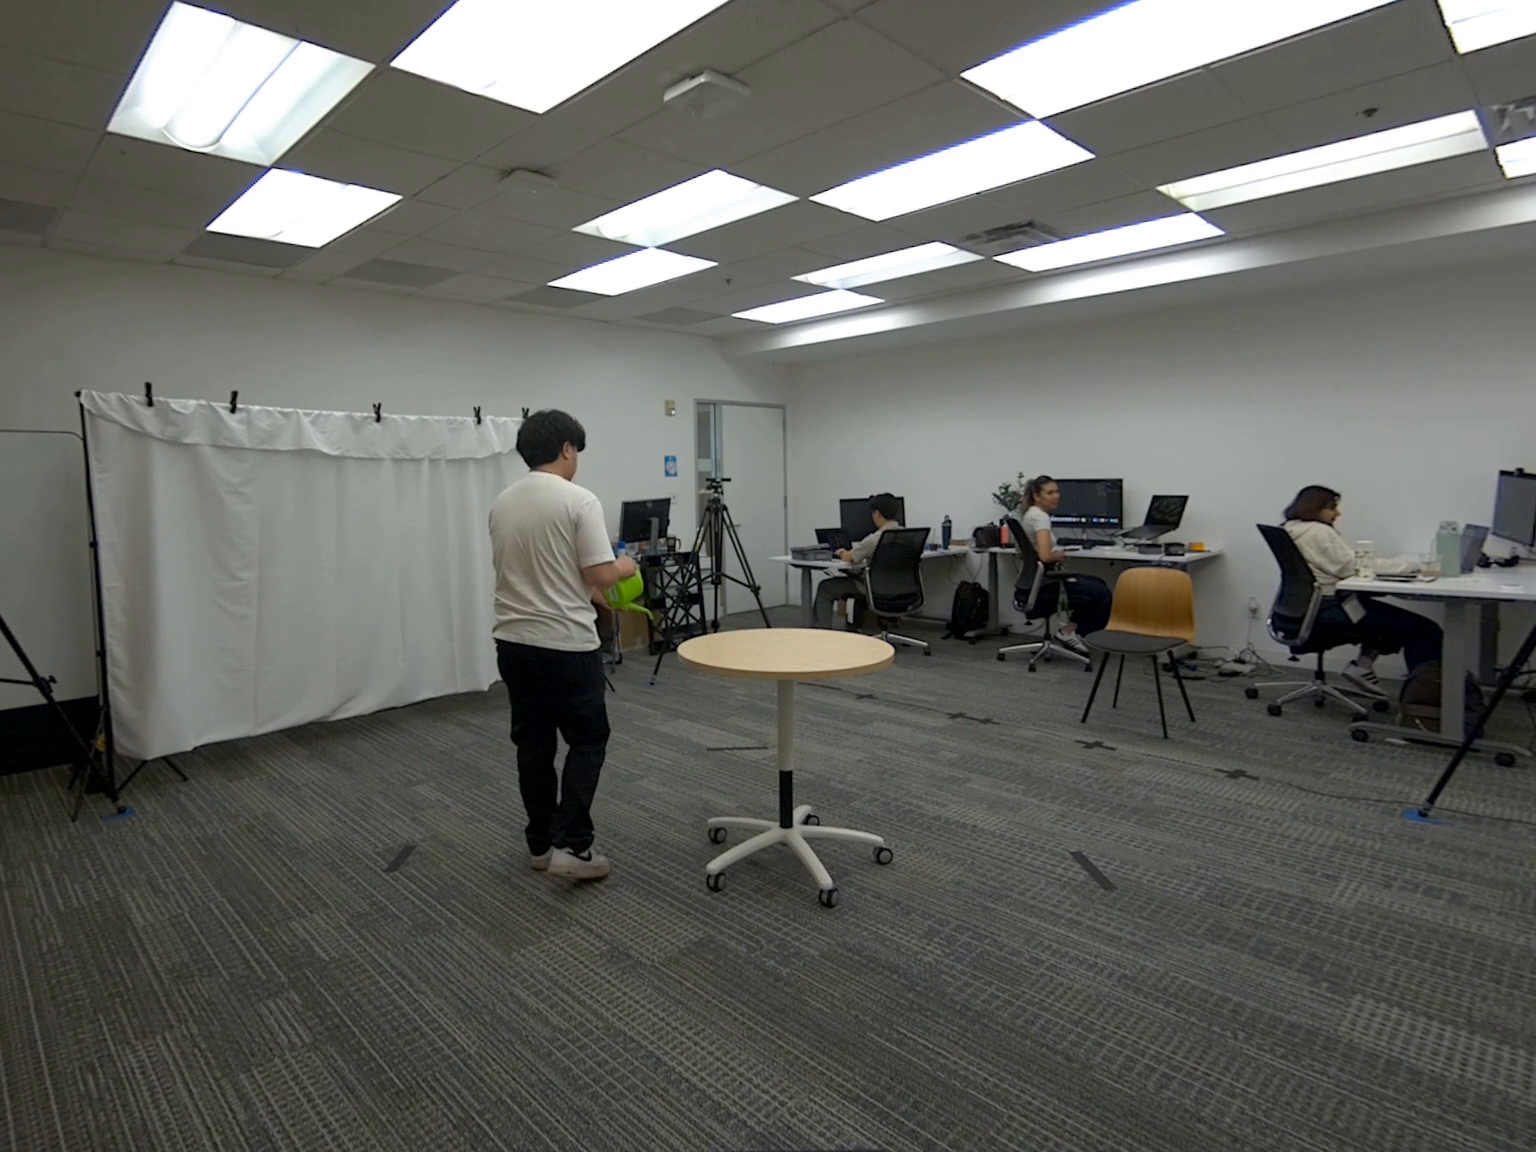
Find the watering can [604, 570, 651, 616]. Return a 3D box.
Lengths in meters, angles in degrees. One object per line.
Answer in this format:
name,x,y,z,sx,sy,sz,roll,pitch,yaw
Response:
watering can,-0.531,0.075,3.333,0.100,0.275,0.176,-17,13,37
